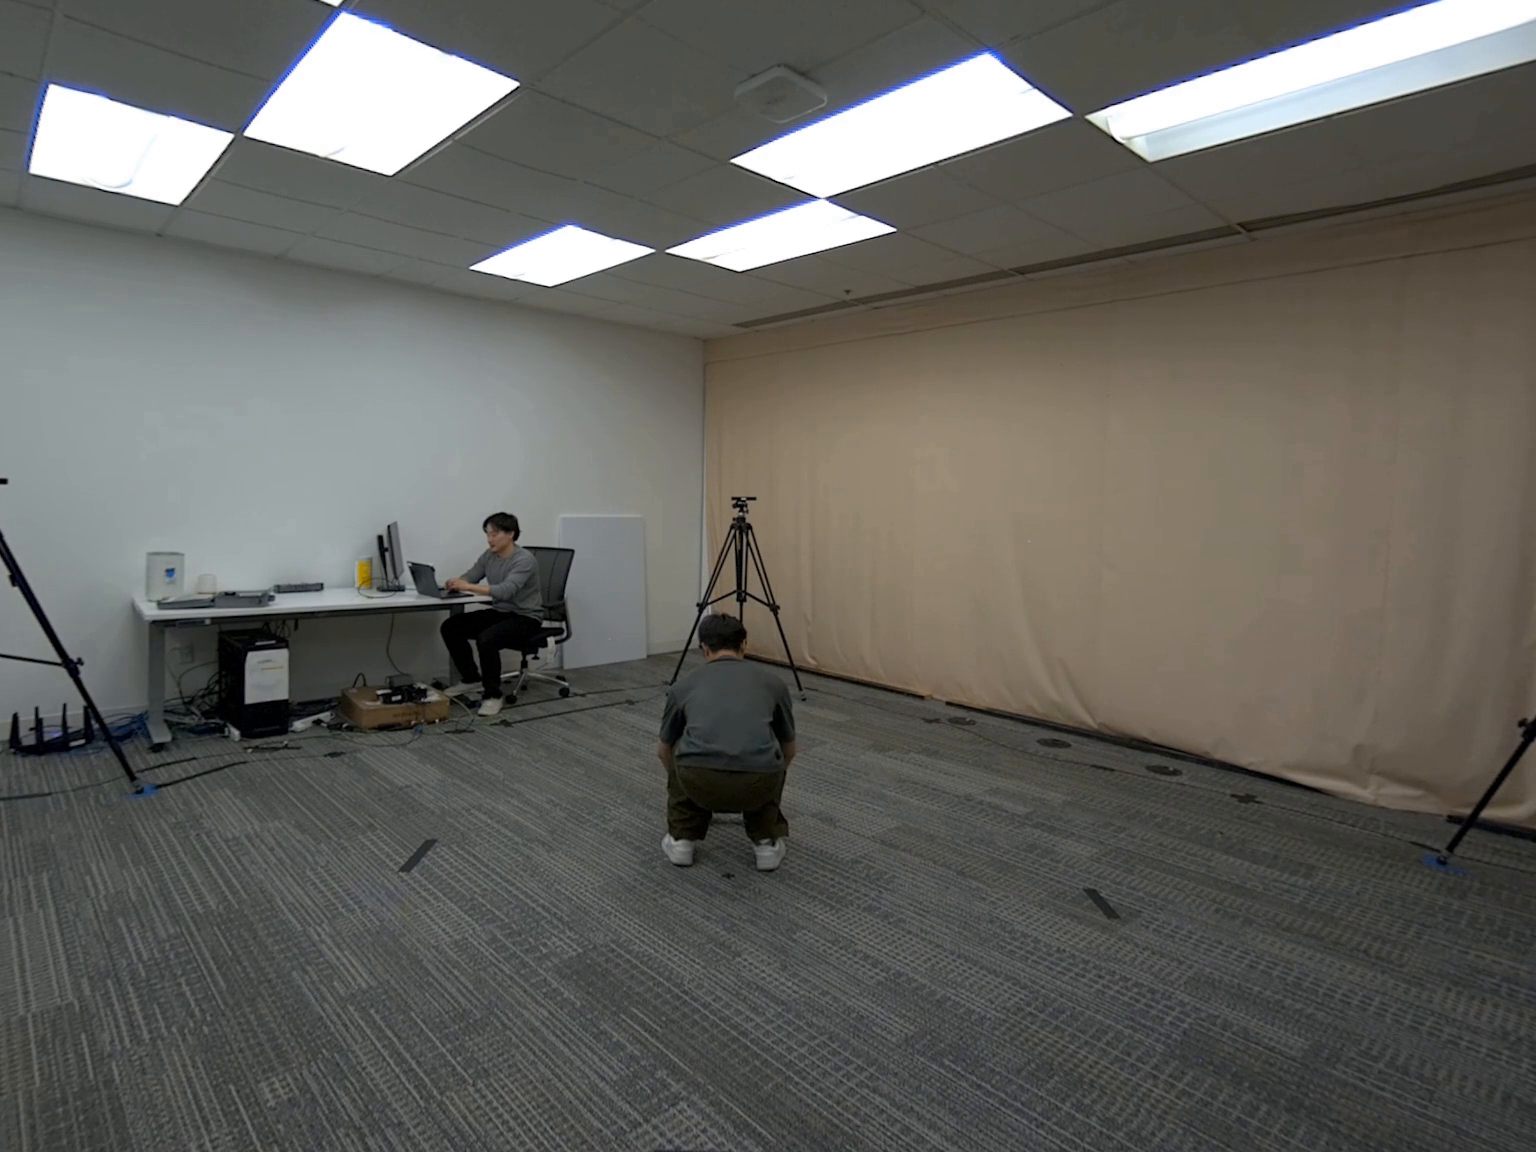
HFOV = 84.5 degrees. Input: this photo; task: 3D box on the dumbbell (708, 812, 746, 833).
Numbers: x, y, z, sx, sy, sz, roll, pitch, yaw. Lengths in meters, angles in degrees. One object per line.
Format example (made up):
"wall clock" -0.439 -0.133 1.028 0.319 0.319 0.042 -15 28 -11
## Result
"dumbbell" -0.177 1.002 3.612 0.294 0.120 0.111 1 35 2
